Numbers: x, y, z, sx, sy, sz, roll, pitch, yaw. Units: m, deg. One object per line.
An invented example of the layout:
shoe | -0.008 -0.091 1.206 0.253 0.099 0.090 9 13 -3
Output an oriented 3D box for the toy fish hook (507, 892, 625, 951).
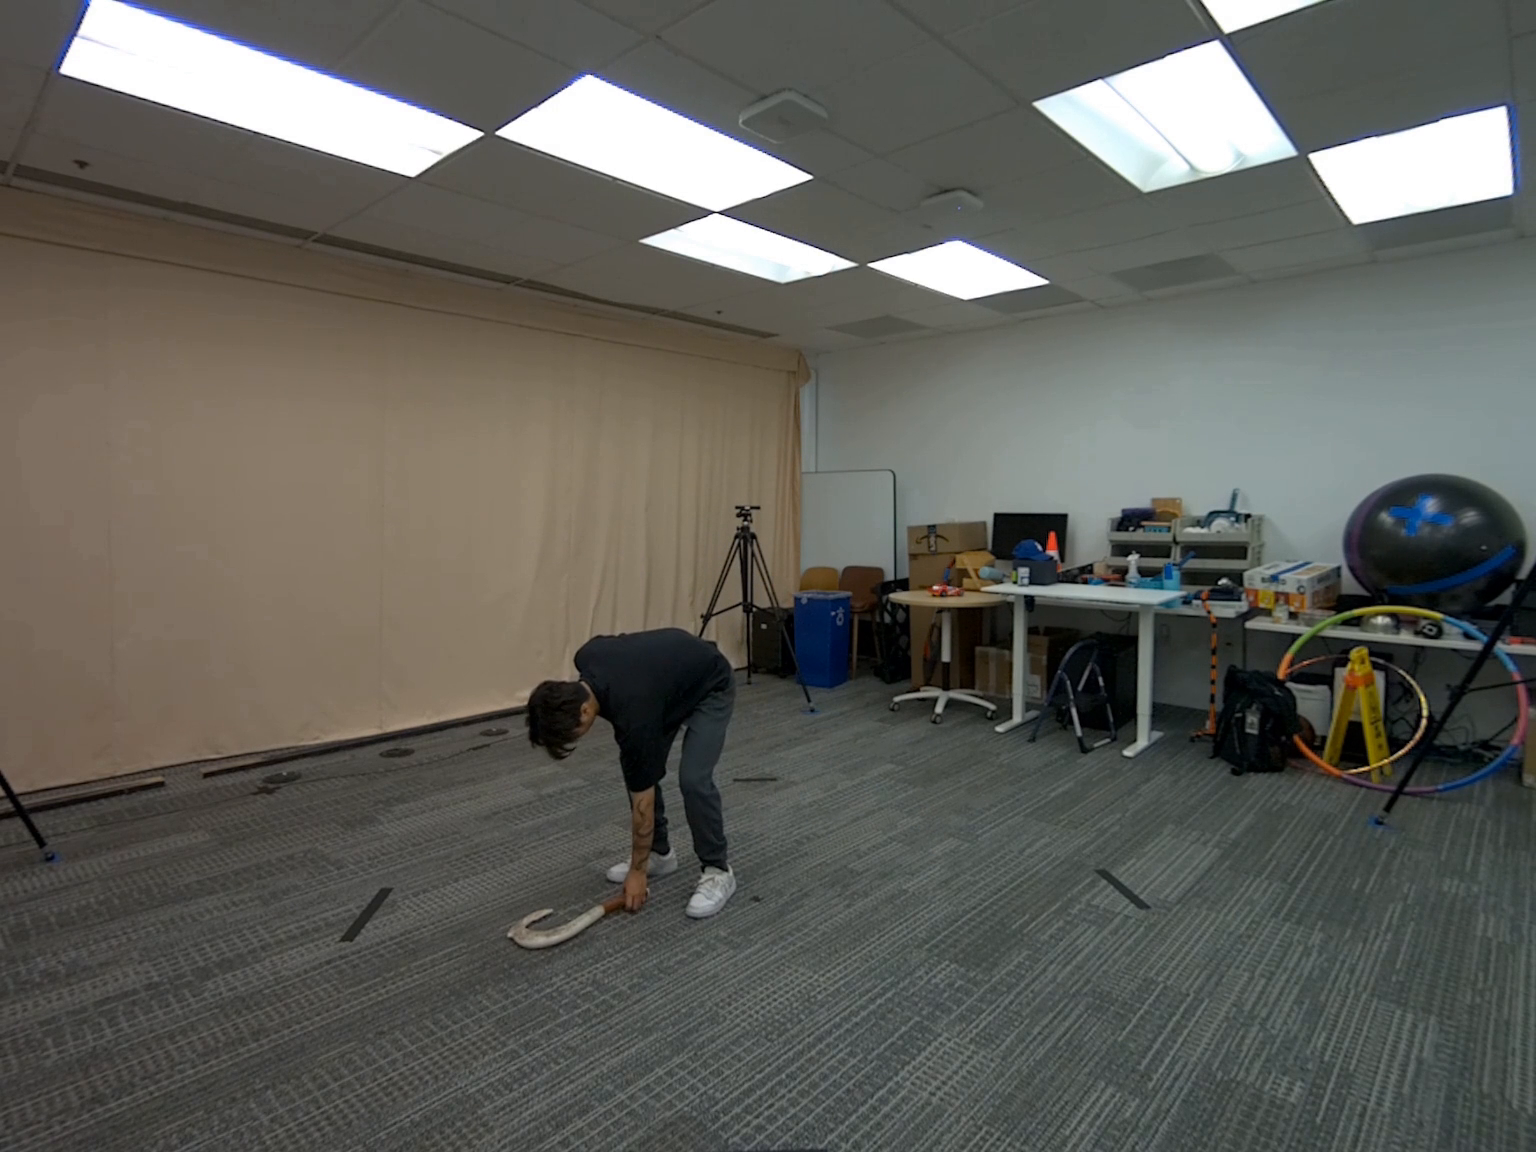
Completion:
toy fish hook | -0.637 1.135 2.849 0.491 0.048 0.232 -5 8 -44
